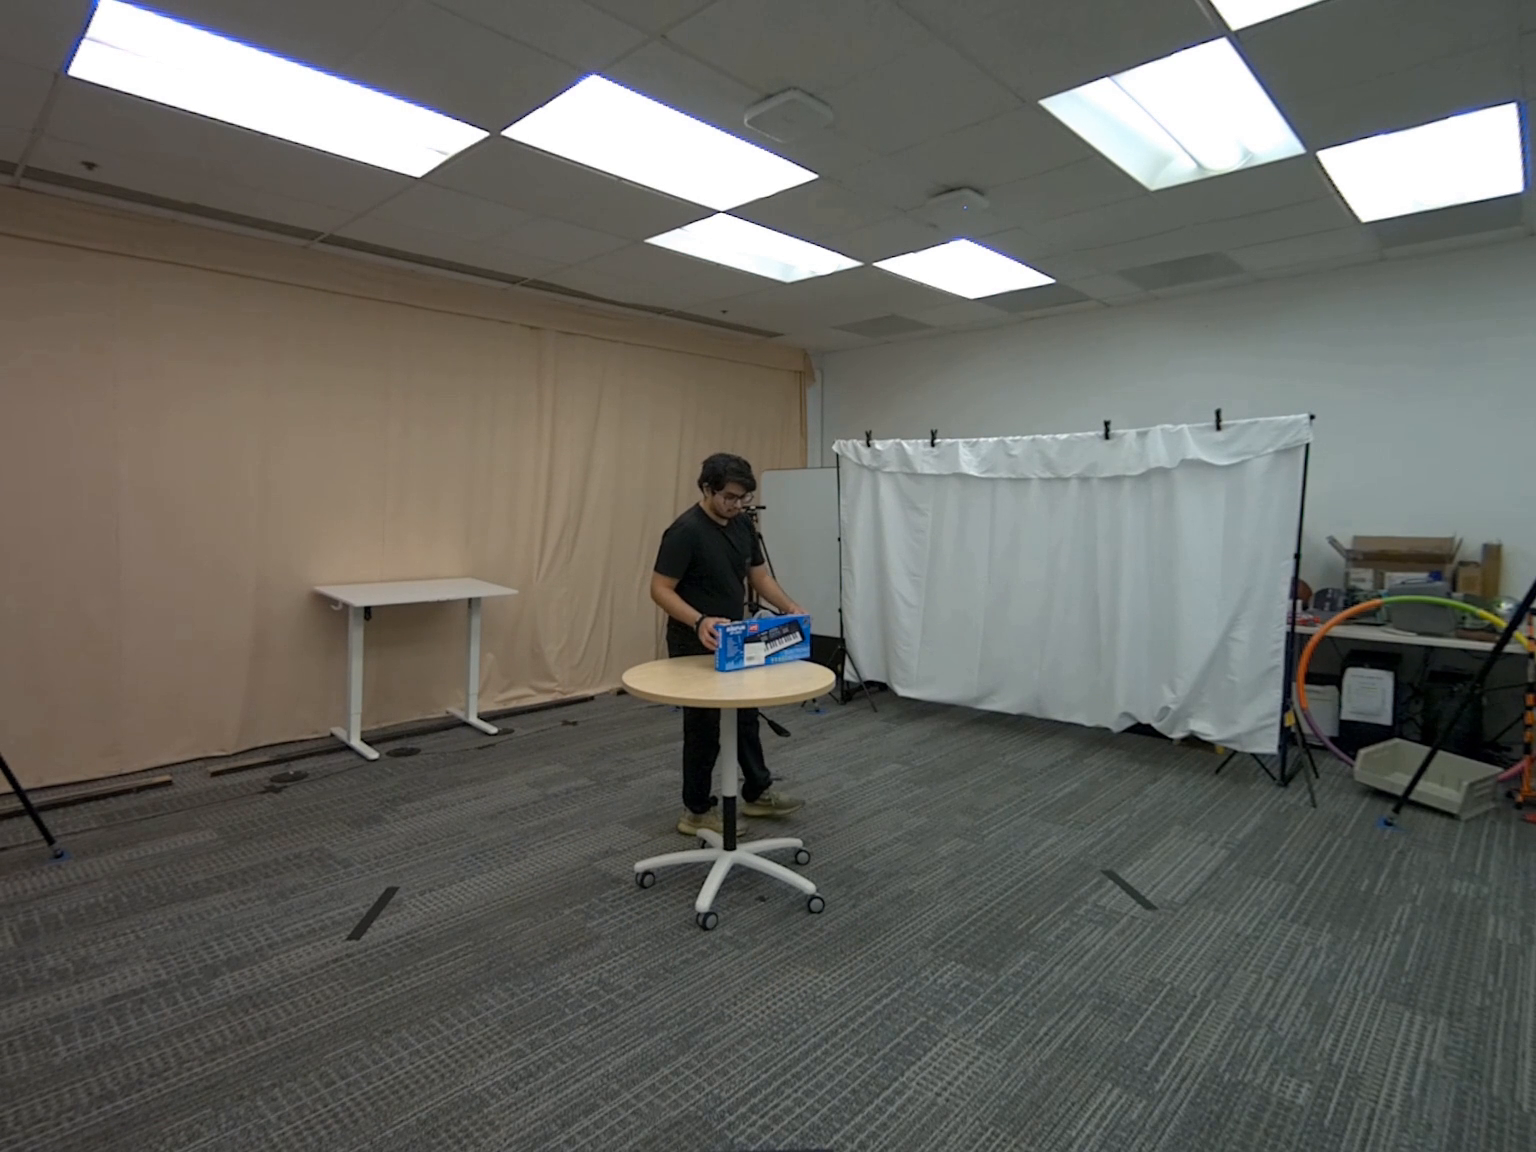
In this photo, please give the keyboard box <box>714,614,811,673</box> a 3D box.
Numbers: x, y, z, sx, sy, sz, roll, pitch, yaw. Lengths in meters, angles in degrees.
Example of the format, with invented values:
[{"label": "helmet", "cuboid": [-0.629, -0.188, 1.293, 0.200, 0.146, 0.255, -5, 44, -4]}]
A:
[{"label": "keyboard box", "cuboid": [-0.013, 0.255, 3.219, 0.424, 0.175, 0.061, -4, 4, -39]}]
